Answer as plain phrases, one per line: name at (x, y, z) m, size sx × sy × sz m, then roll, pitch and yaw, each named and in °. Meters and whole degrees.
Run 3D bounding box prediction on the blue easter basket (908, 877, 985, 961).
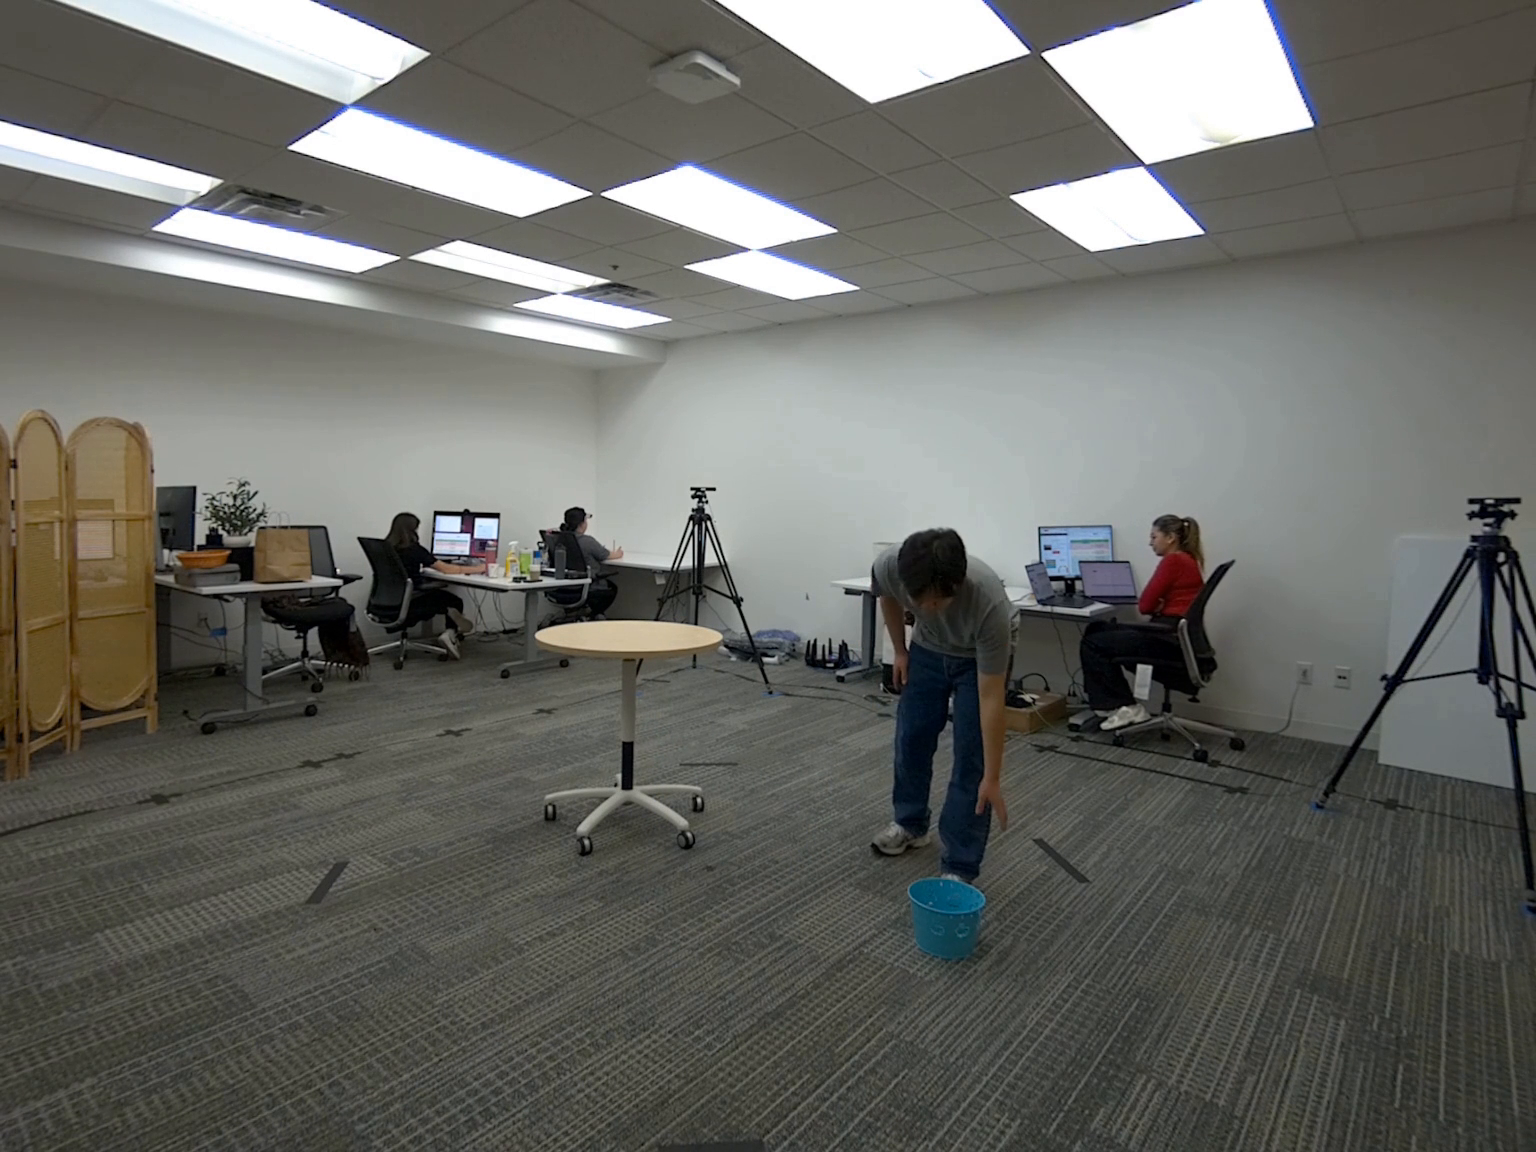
blue easter basket at (0.544, 1.050, 2.629) m, size 0.243 × 0.155 × 0.245 m, roll 1°, pitch 5°, yaw -2°
